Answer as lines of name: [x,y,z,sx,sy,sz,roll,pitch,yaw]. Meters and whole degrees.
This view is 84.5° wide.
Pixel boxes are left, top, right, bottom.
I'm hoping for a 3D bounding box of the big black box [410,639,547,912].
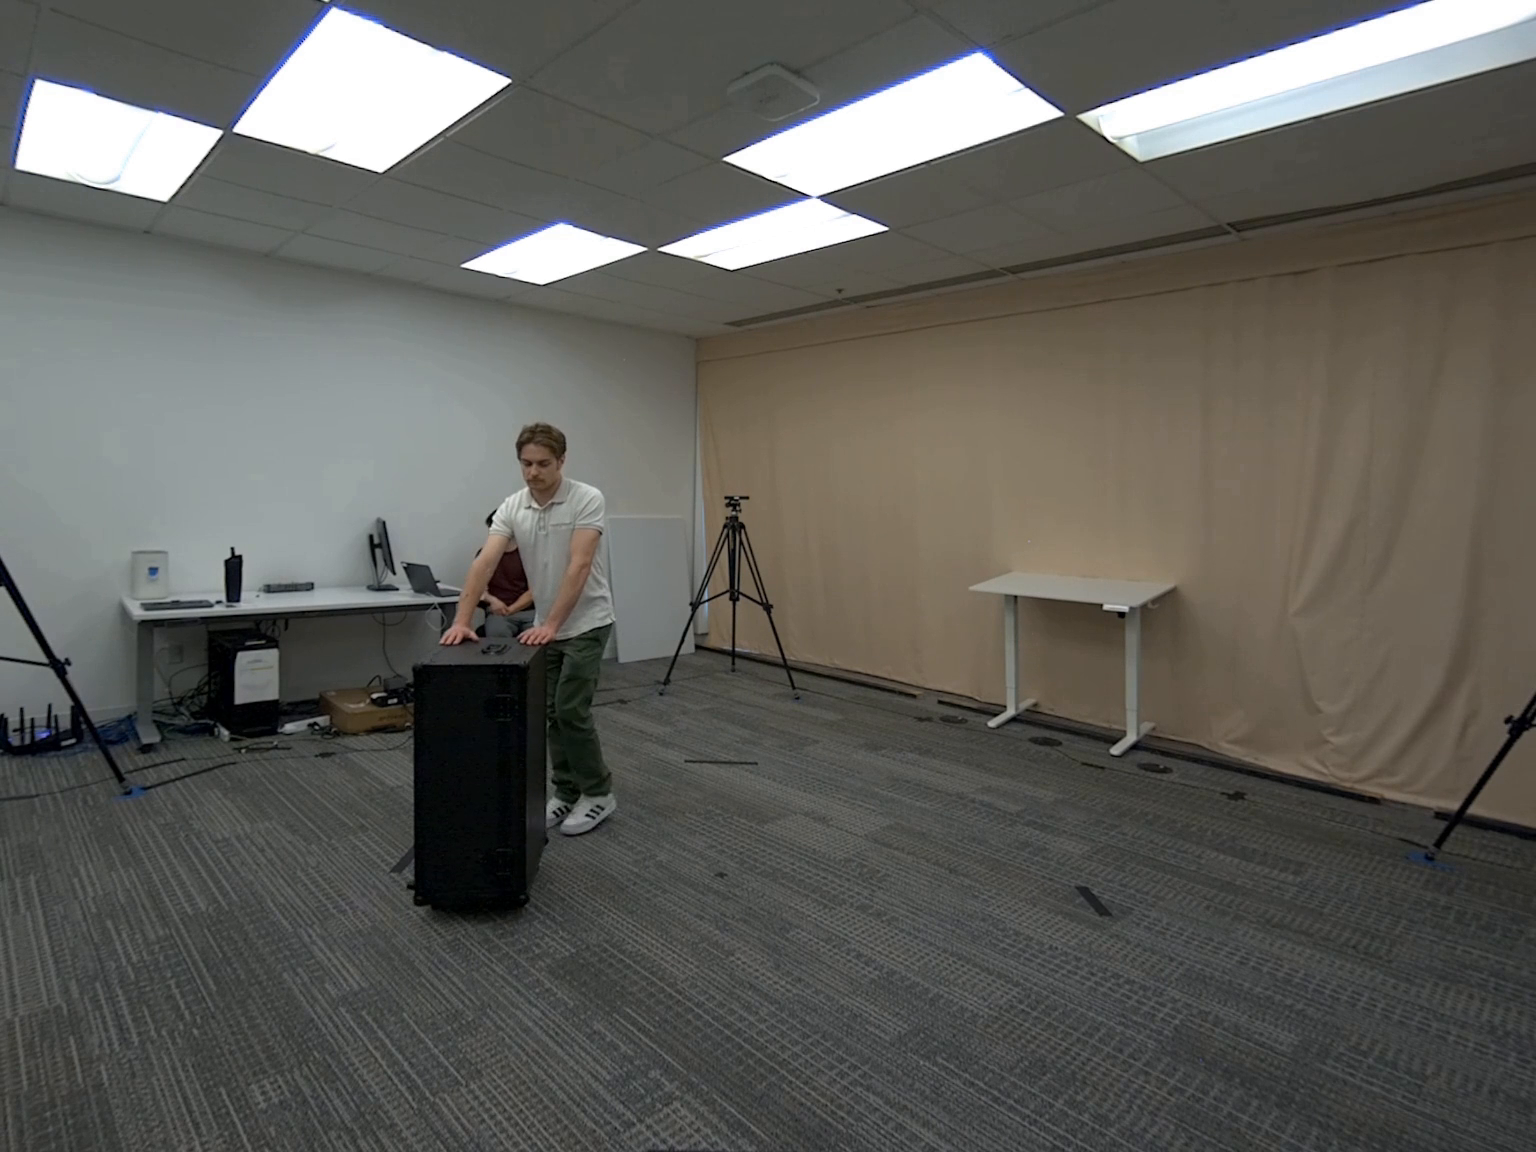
big black box: [-0.985,0.681,2.903,0.383,0.866,0.527,1,4,-7]
